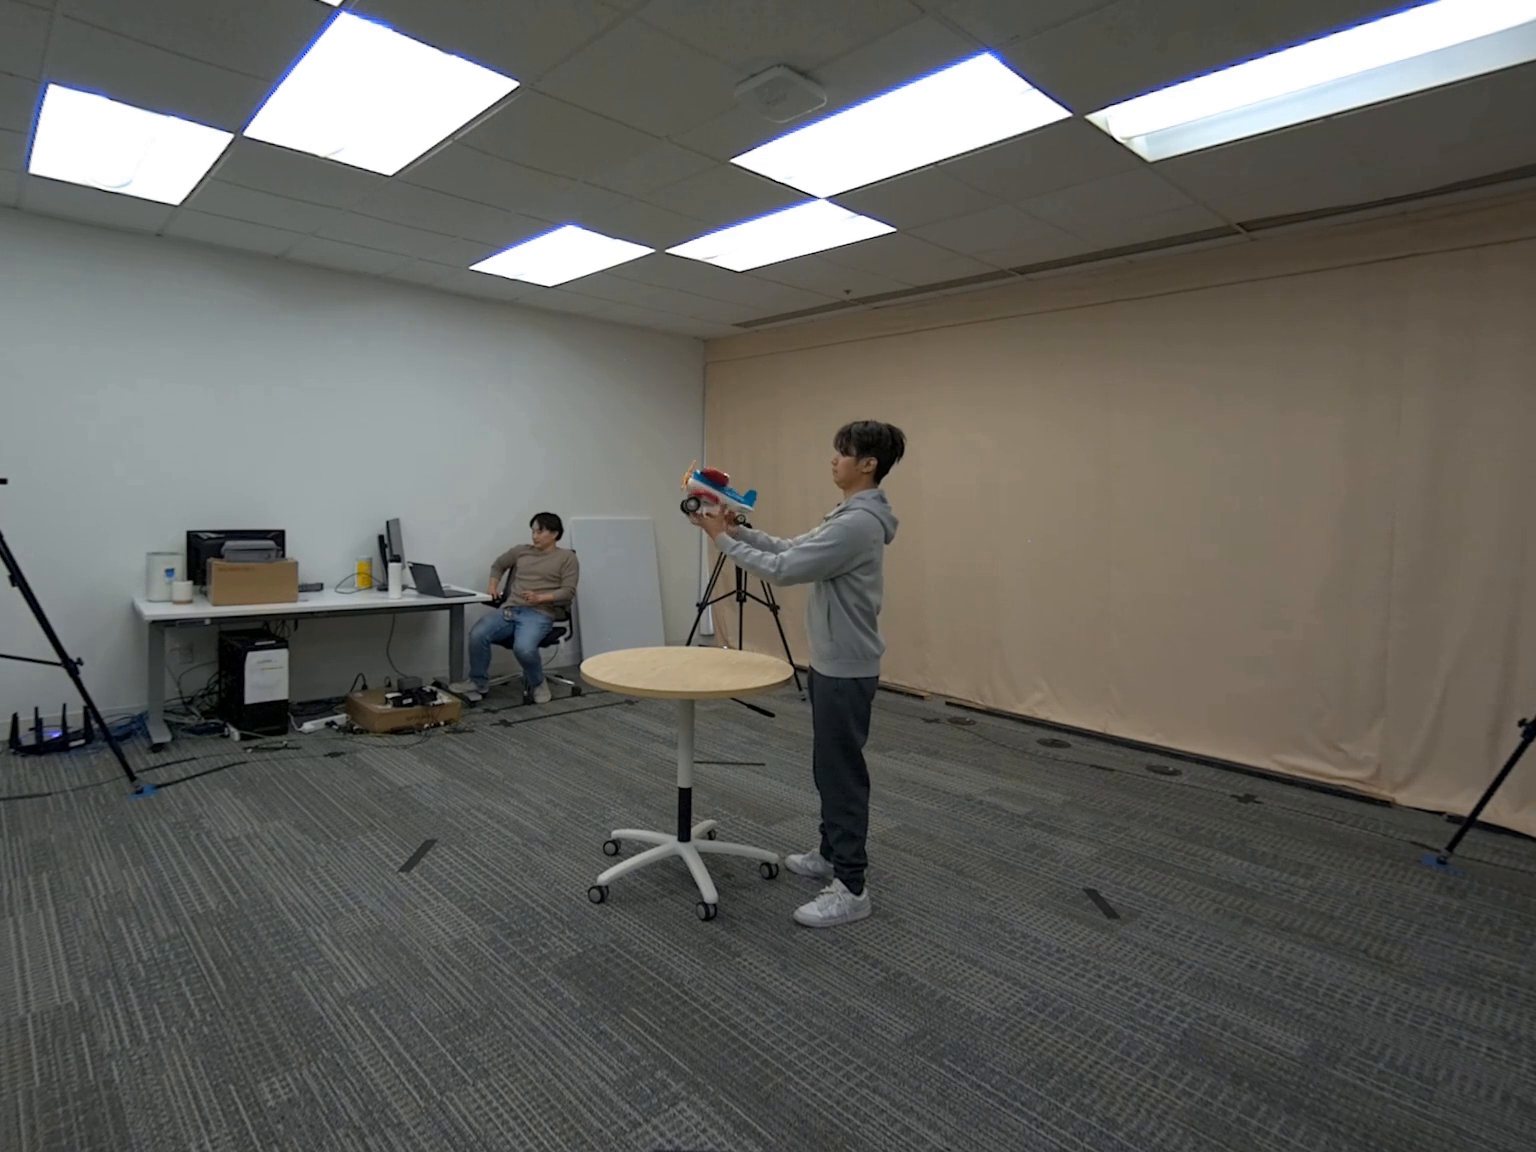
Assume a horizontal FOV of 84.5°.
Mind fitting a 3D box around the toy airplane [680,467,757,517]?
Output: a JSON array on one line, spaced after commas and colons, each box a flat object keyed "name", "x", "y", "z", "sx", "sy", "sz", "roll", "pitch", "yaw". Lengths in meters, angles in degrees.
[{"name": "toy airplane", "x": -0.179, "y": -0.228, "z": 2.882, "sx": 0.252, "sy": 0.157, "sz": 0.257, "roll": 17, "pitch": -5, "yaw": -38}]
